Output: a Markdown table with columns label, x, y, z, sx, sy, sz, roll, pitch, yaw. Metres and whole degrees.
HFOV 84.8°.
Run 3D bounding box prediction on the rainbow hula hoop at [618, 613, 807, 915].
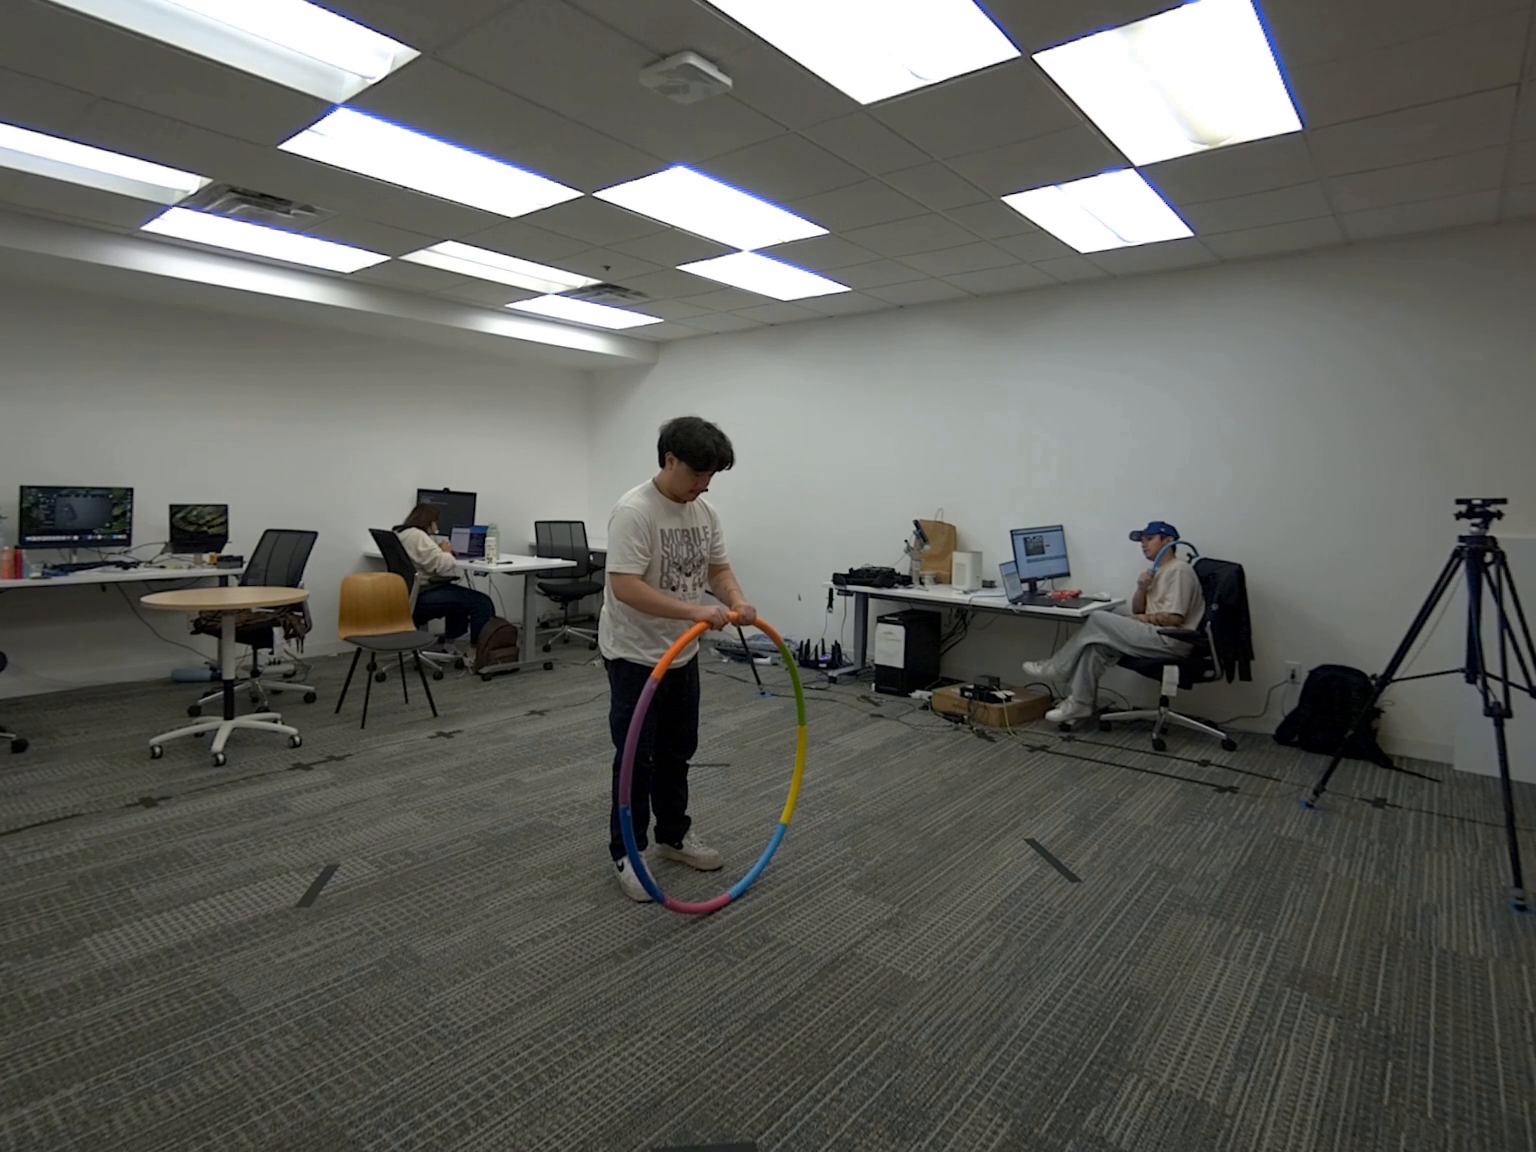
| label | x | y | z | sx | sy | sz | roll | pitch | yaw |
| --- | --- | --- | --- | --- | --- | --- | --- | --- | --- |
| rainbow hula hoop | -0.150 | 0.609 | 2.834 | 0.053 | 0.983 | 0.957 | 1 | 3 | 36 |
